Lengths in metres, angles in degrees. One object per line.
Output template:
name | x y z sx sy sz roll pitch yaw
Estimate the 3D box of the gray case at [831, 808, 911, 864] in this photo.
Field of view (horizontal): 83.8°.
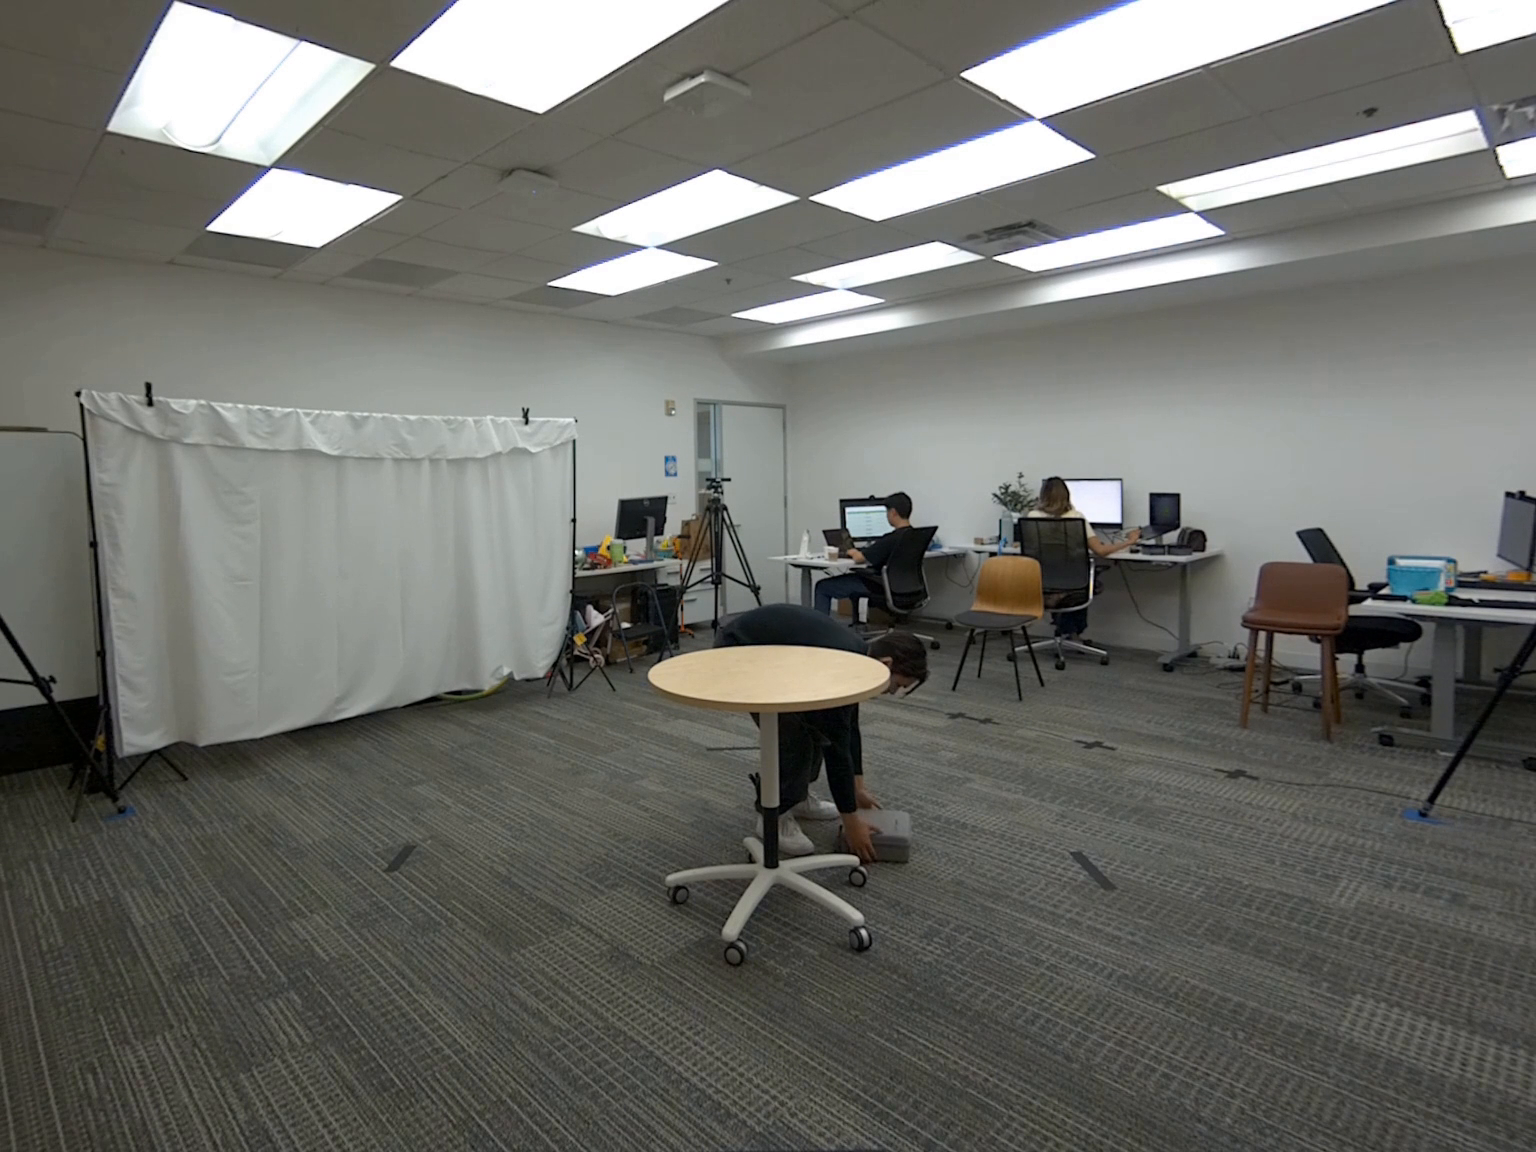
gray case | 0.402 0.963 3.204 0.264 0.104 0.255 0 5 11
